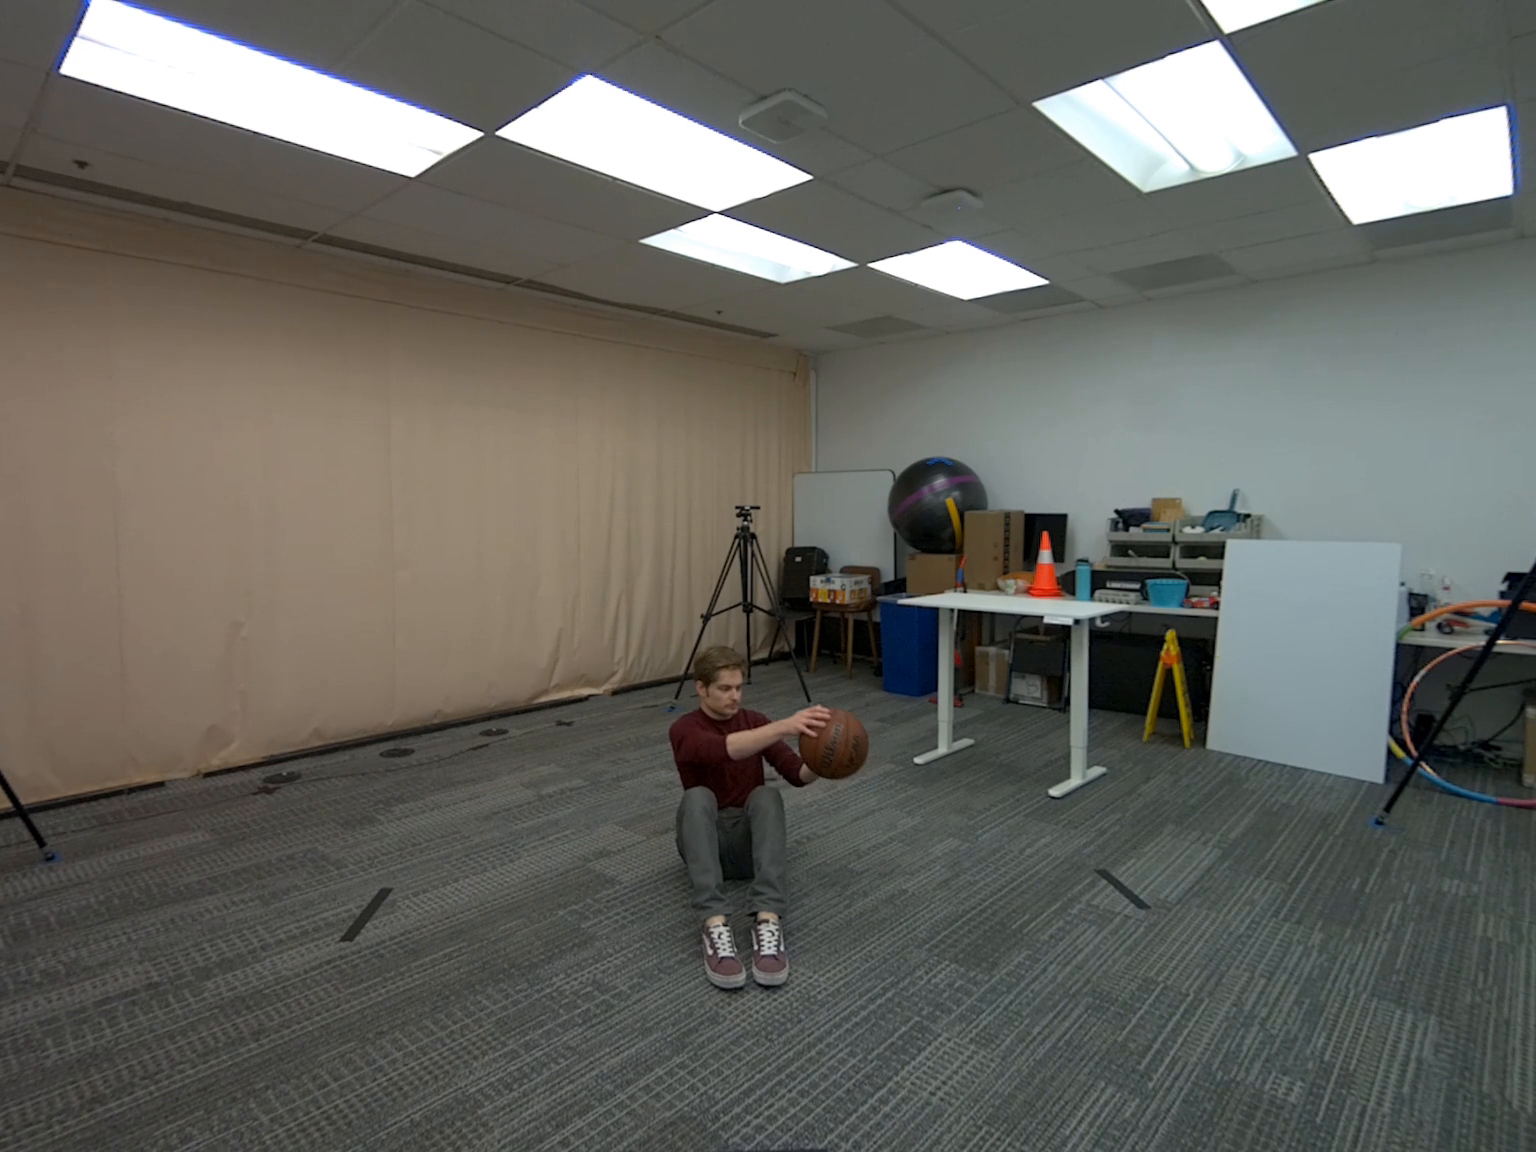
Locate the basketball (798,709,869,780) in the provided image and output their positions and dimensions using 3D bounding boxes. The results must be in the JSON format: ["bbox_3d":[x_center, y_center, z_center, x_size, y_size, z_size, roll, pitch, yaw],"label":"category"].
[{"bbox_3d":[0.210,0.583,2.865,0.236,0.235,0.237,0,4,-2],"label":"basketball"}]
